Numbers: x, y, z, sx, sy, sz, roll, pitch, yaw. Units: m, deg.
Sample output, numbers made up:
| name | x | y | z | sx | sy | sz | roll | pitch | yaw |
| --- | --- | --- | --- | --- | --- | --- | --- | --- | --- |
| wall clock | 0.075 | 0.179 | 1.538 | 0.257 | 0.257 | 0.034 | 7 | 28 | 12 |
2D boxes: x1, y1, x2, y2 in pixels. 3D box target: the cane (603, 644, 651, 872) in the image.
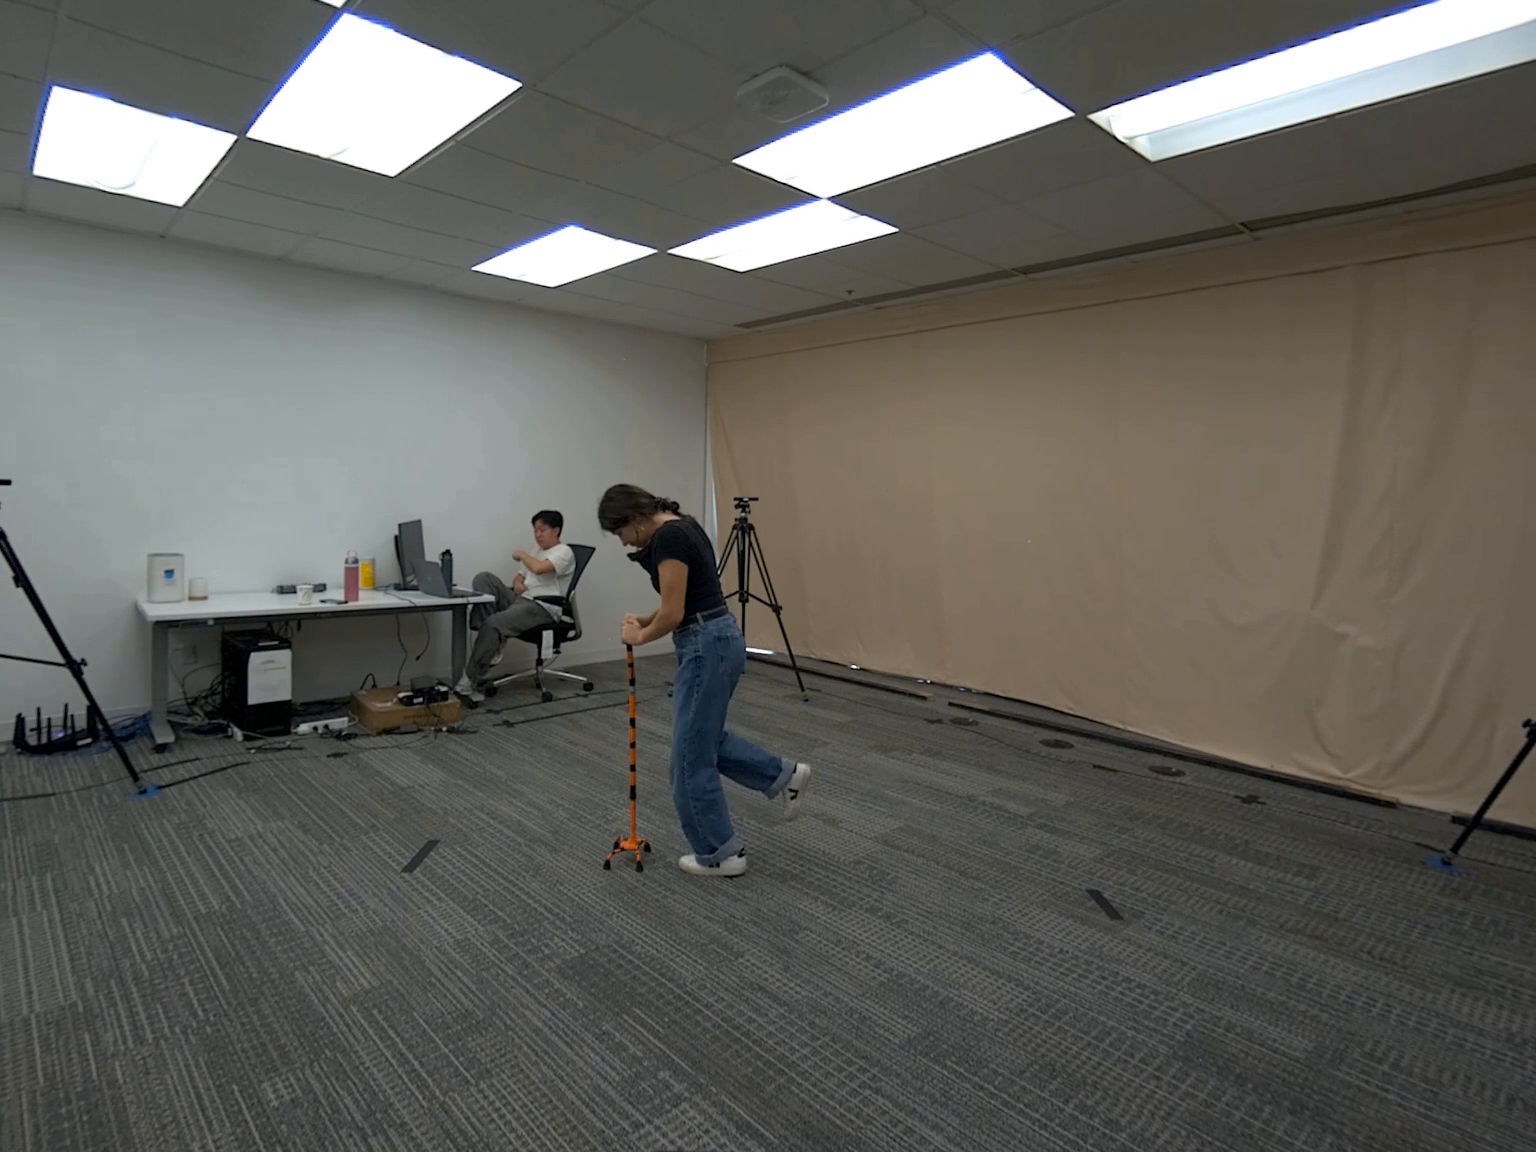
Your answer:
| name | x | y | z | sx | sy | sz | roll | pitch | yaw |
| --- | --- | --- | --- | --- | --- | --- | --- | --- | --- |
| cane | -0.542 | 0.634 | 3.202 | 0.152 | 0.906 | 0.206 | 0 | 3 | 2 |
